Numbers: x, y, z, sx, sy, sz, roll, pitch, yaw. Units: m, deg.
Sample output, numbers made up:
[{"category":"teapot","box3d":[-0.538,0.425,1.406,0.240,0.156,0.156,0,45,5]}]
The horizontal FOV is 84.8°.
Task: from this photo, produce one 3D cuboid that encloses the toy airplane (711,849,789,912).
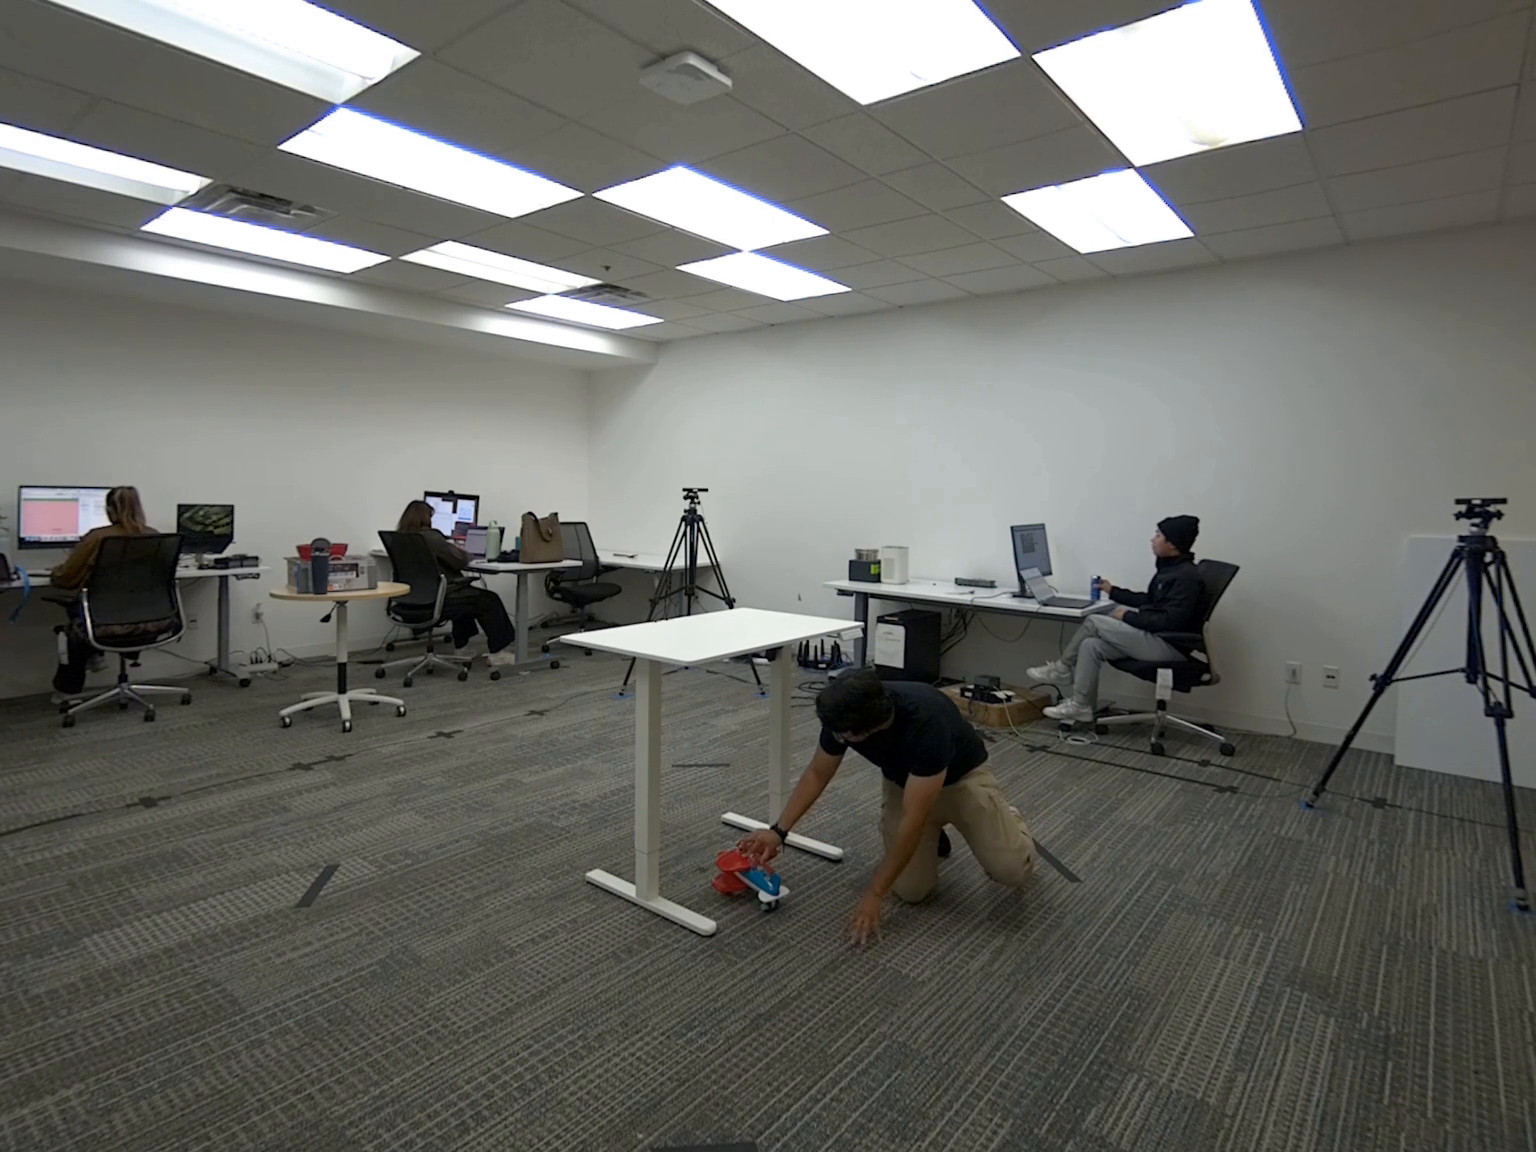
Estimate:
[{"category":"toy airplane","box3d":[-0.047,1.023,2.904,0.265,0.156,0.246,2,4,21]}]
